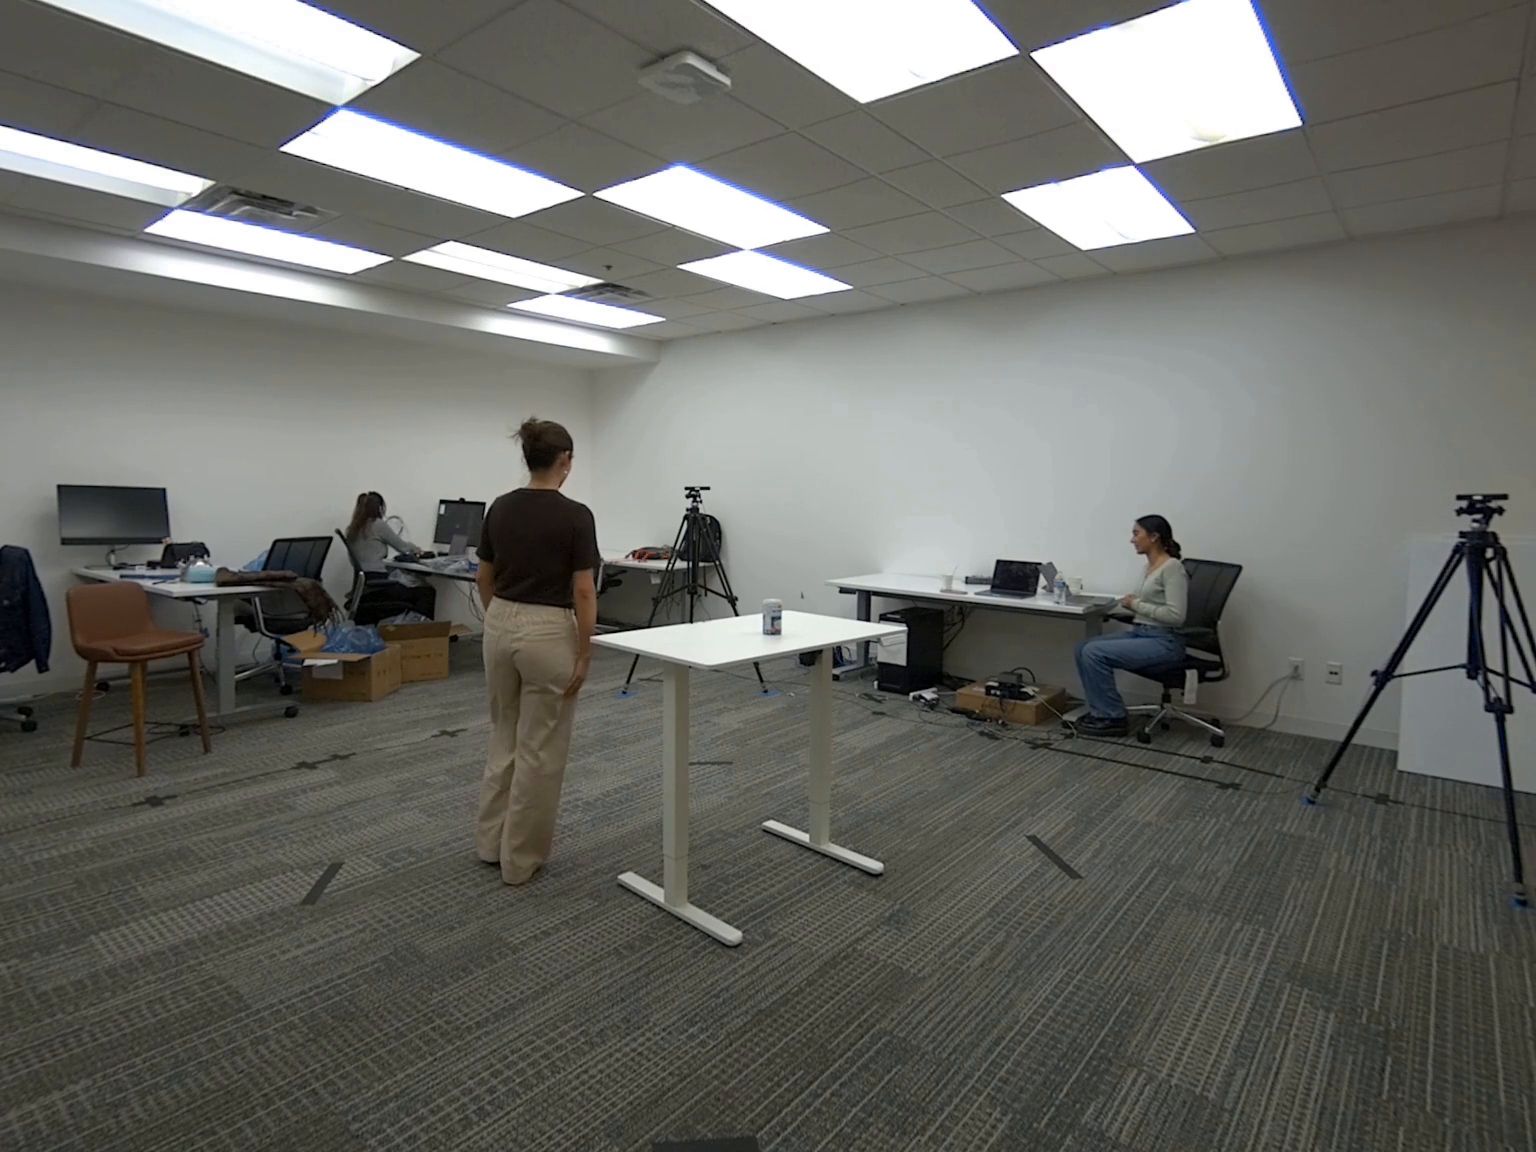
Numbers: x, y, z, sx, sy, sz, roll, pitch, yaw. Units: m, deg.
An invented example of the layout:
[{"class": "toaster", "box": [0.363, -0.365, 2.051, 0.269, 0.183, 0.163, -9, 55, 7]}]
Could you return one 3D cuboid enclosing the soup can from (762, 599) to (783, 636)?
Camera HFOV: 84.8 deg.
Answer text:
[{"class": "soup can", "box": [0.006, 0.144, 2.960, 0.067, 0.121, 0.067, 1, 4, -2]}]
